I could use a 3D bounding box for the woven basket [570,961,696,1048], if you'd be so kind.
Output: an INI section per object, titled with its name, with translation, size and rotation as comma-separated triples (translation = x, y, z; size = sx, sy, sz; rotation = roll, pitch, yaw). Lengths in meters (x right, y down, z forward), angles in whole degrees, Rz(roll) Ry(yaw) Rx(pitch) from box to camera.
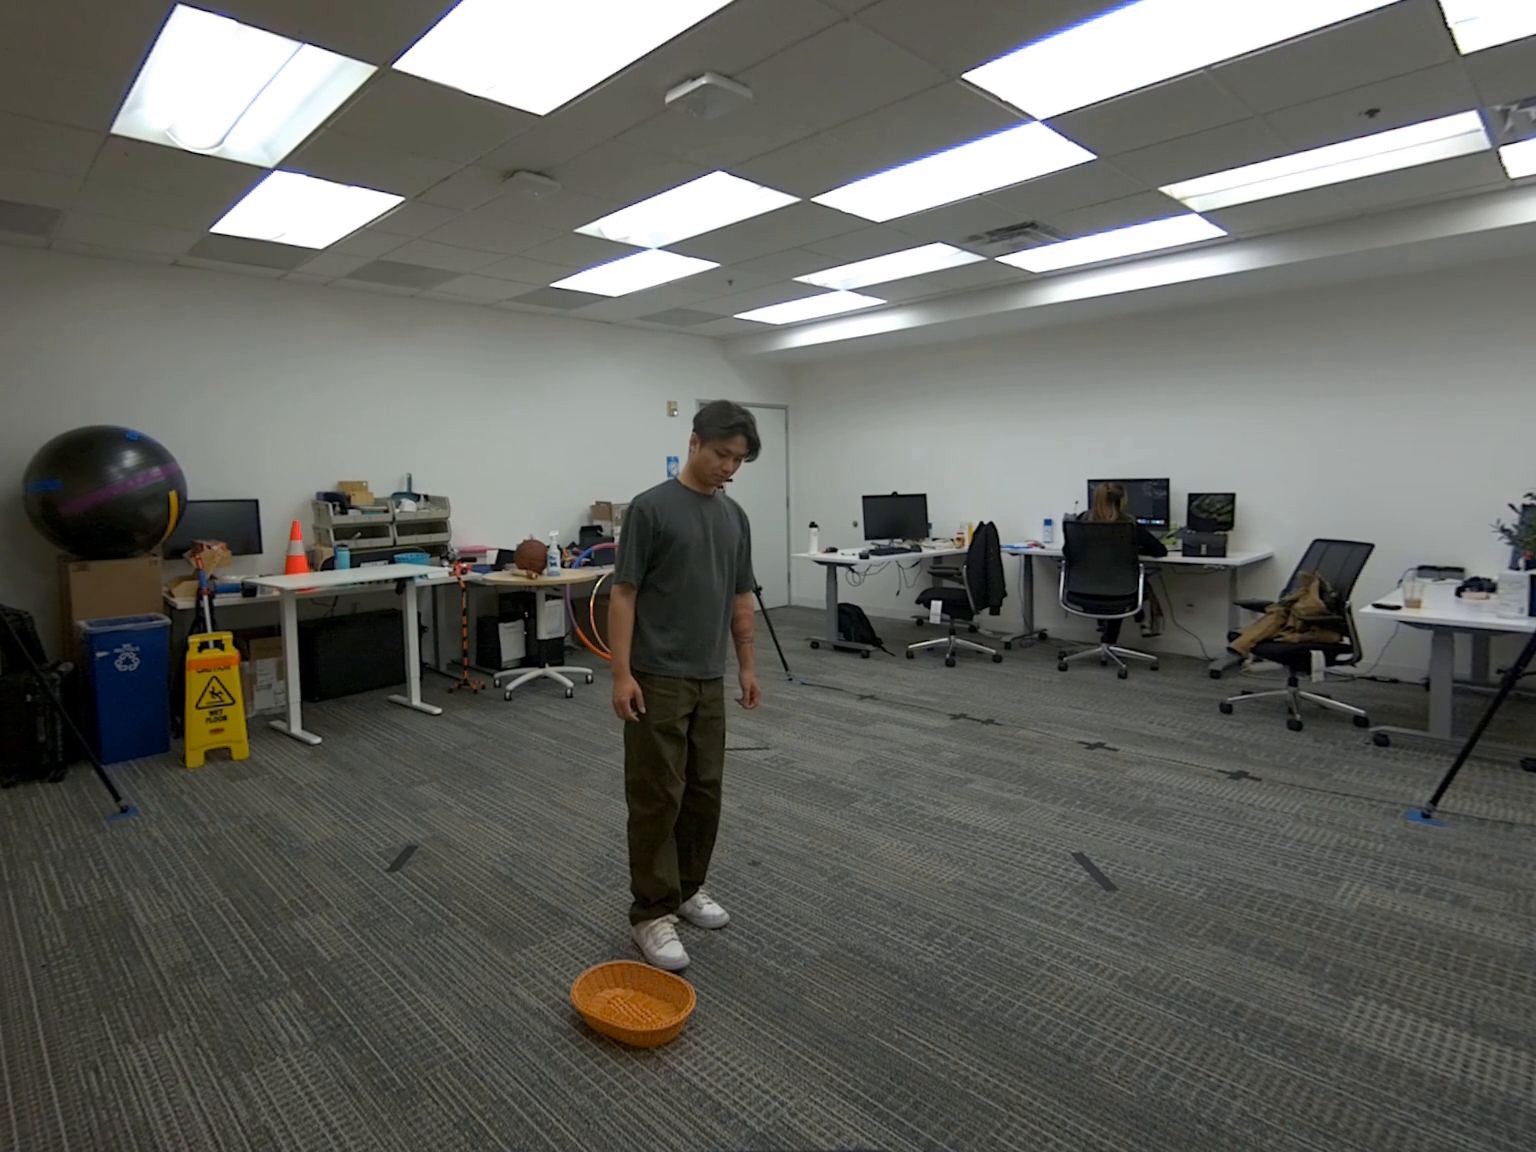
[woven basket]
translation = -0.351, 1.122, 2.226
size = 0.360, 0.073, 0.246
rotation = 3, 8, 35
